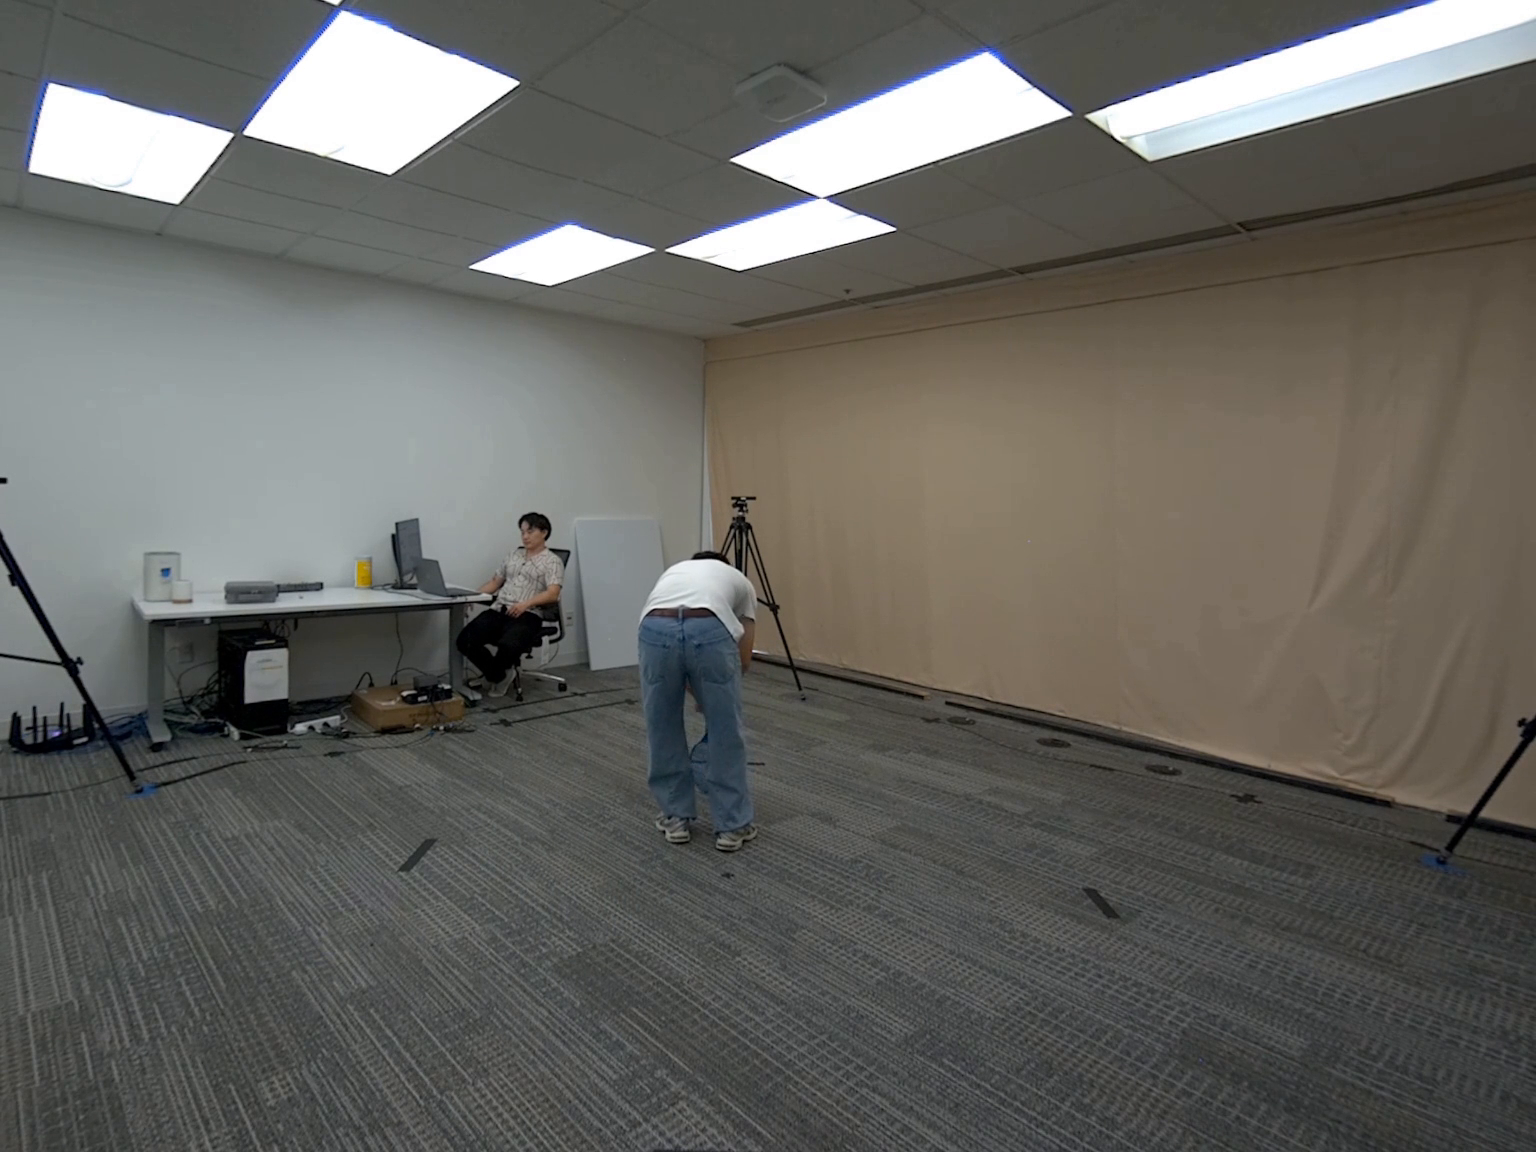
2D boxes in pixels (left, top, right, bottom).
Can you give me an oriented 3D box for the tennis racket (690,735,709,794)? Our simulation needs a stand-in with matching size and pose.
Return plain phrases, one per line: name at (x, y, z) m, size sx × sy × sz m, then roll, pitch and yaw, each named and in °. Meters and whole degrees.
tennis racket at (-0.275, 0.821, 3.919) m, size 0.217 × 0.431 × 0.031 m, roll 5°, pitch 6°, yaw 19°
